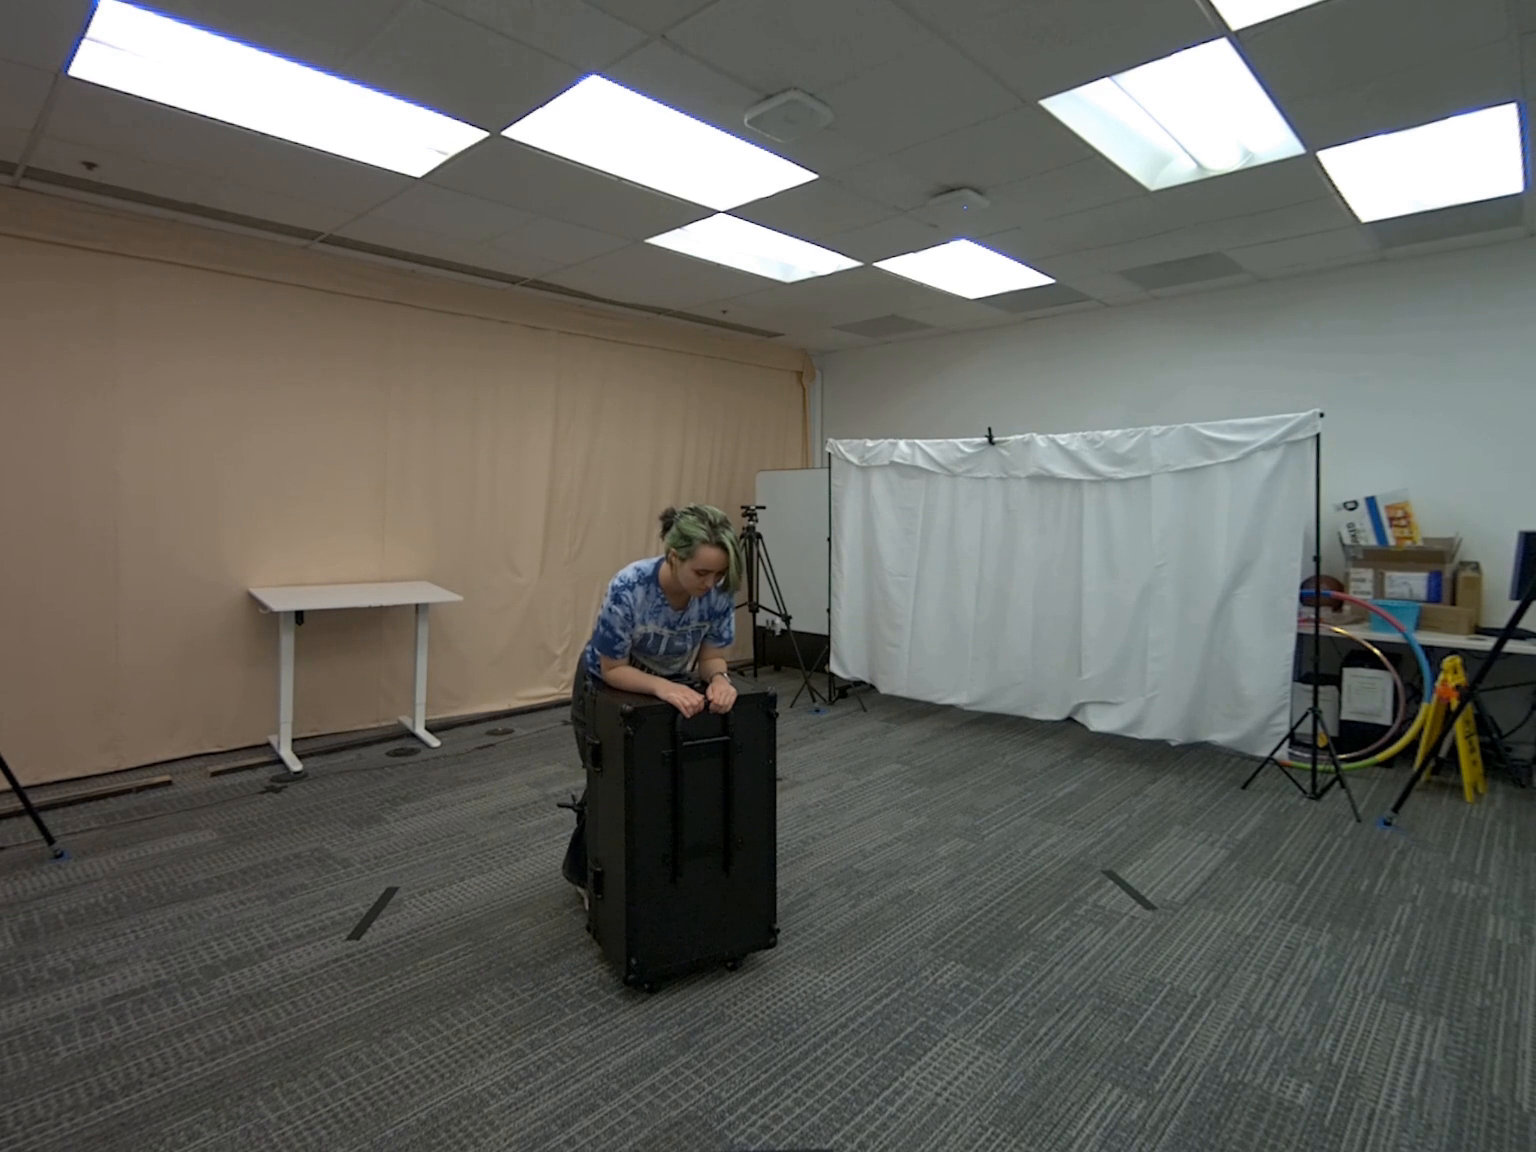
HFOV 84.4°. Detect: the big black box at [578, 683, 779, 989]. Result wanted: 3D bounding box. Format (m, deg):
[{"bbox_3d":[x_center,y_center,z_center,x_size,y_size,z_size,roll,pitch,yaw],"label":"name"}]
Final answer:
[{"bbox_3d":[-0.257,0.699,2.540,0.508,0.860,0.407,-2,4,-27],"label":"big black box"}]
